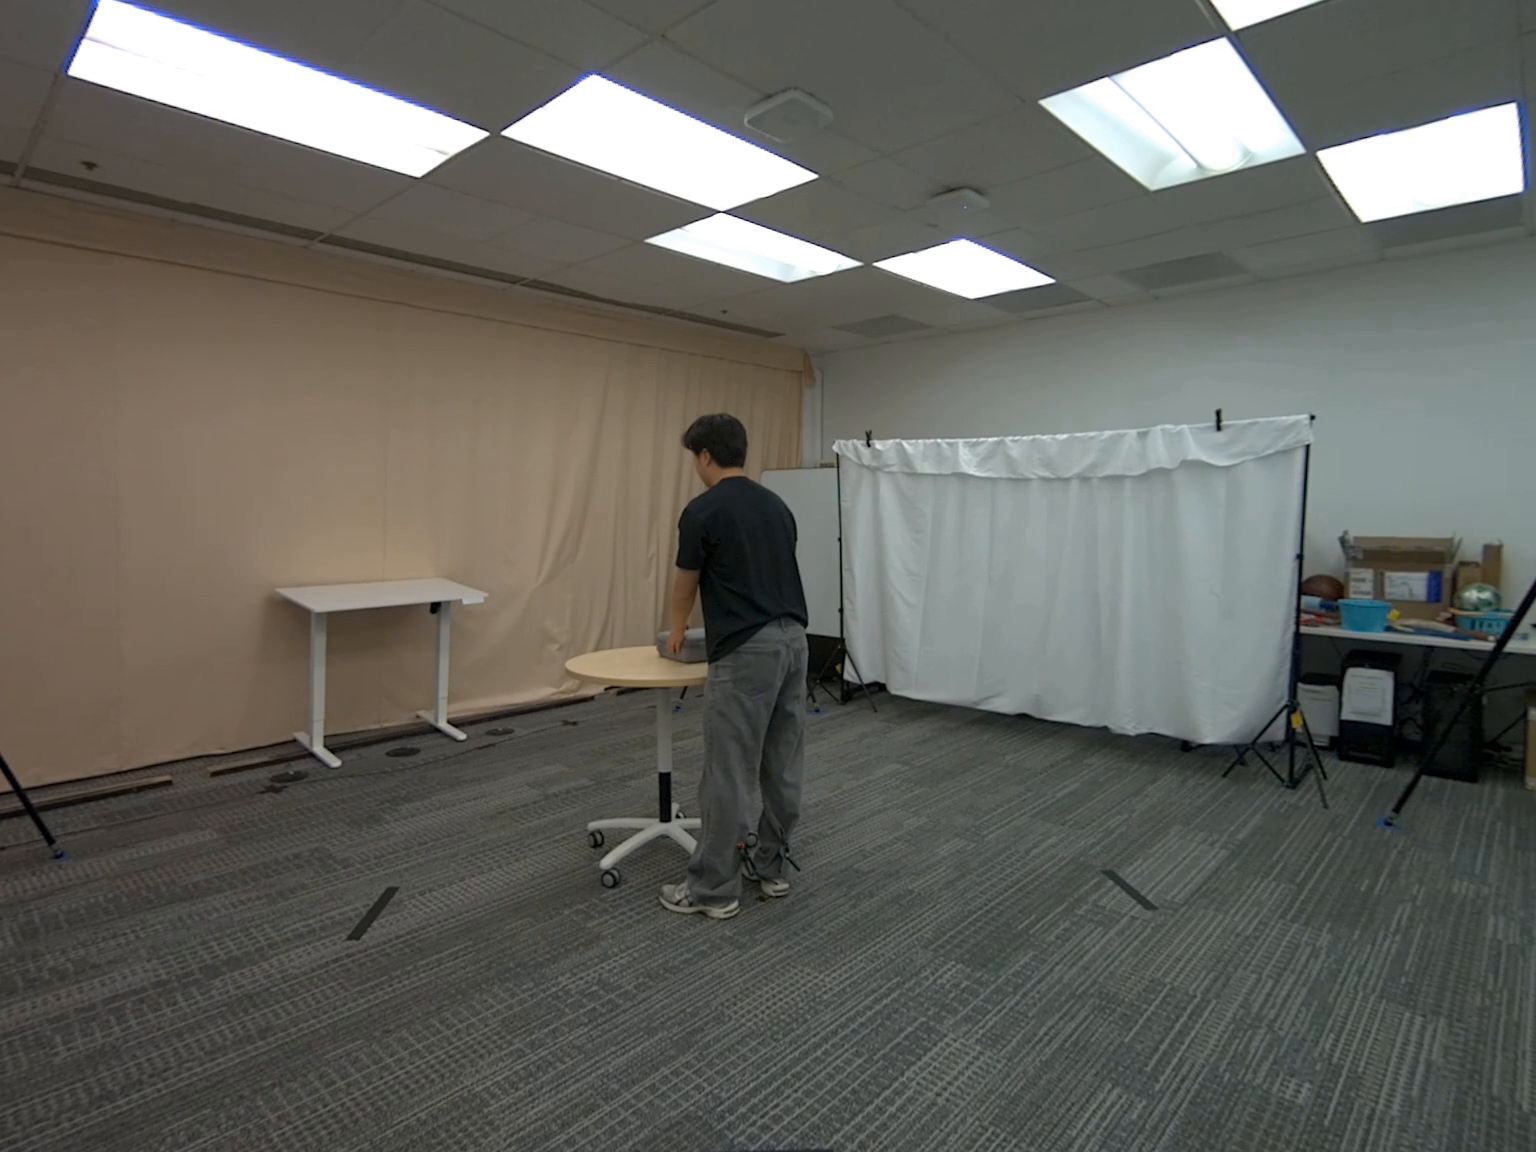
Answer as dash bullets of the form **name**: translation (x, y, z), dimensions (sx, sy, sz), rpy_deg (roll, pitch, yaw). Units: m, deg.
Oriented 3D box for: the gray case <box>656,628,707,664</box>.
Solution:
- **gray case**: translation (-0.300, 0.278, 3.414), dimensions (0.256, 0.103, 0.296), rpy_deg (-4, 4, -33)
